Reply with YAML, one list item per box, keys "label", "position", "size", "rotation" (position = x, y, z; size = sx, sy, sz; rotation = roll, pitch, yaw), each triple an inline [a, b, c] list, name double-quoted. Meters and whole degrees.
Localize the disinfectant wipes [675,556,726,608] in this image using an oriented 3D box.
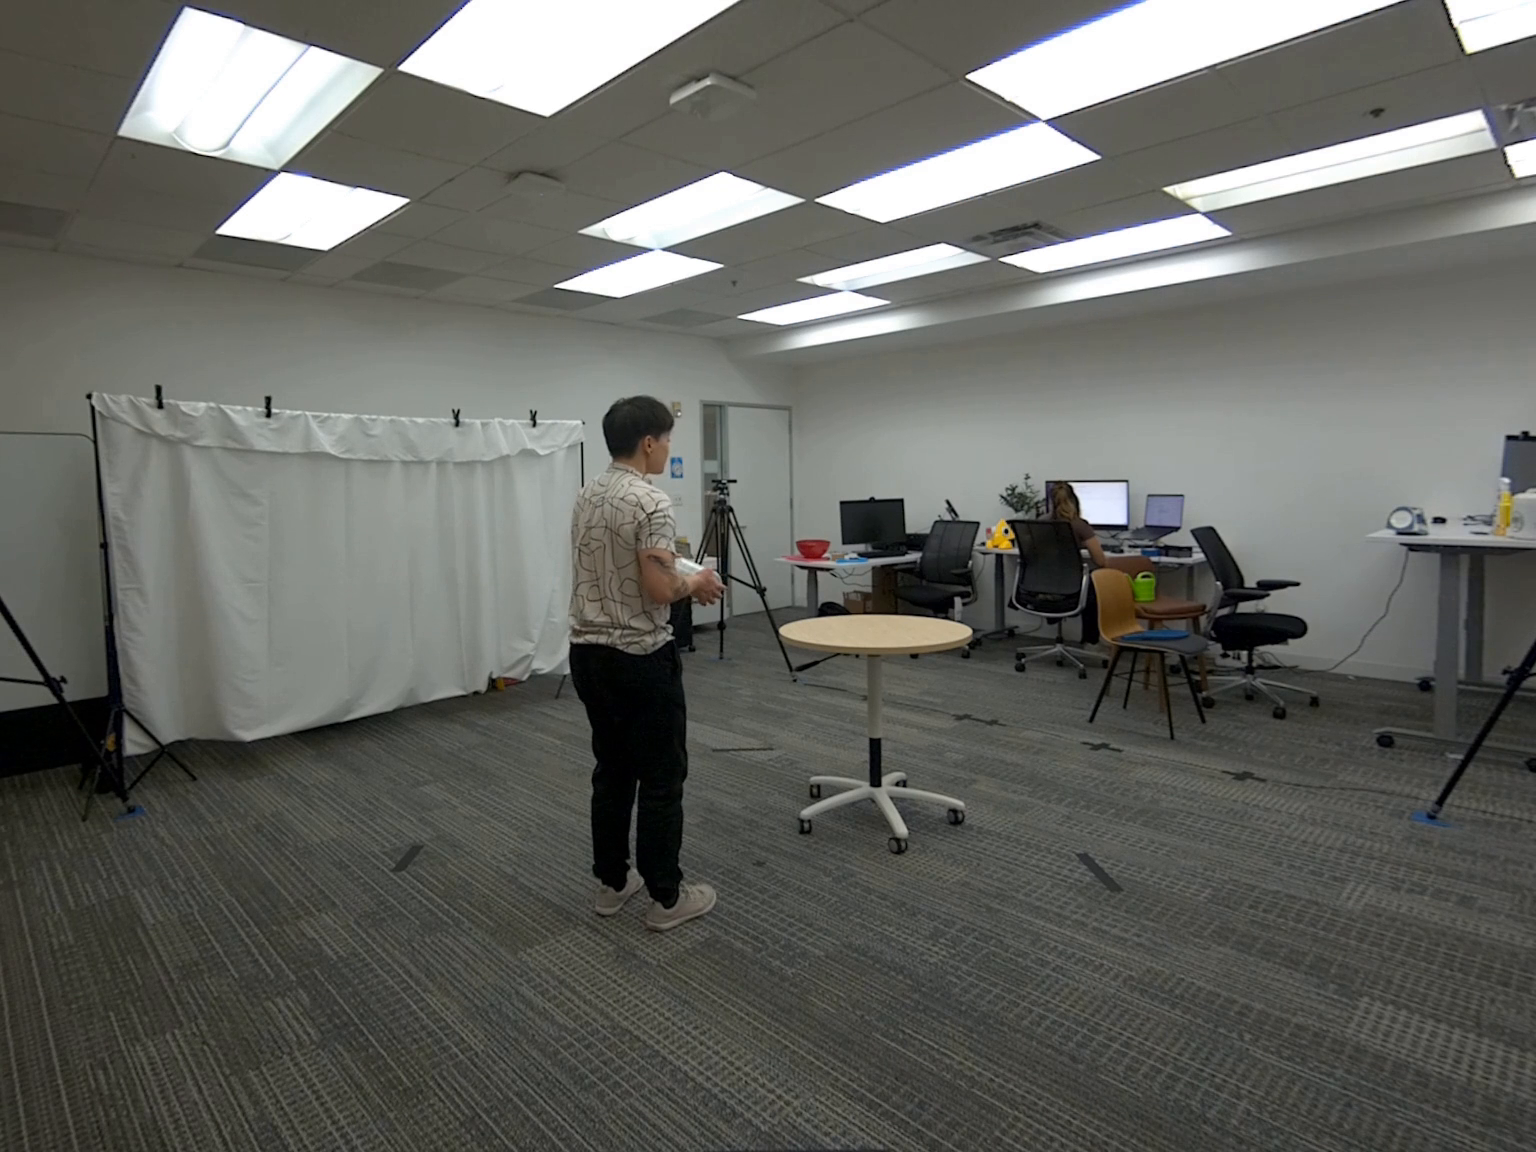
- label: "disinfectant wipes"
  position: [-0.256, 0.015, 2.905]
  size: [0.115, 0.116, 0.225]
  rotation: [-4, 15, -33]
